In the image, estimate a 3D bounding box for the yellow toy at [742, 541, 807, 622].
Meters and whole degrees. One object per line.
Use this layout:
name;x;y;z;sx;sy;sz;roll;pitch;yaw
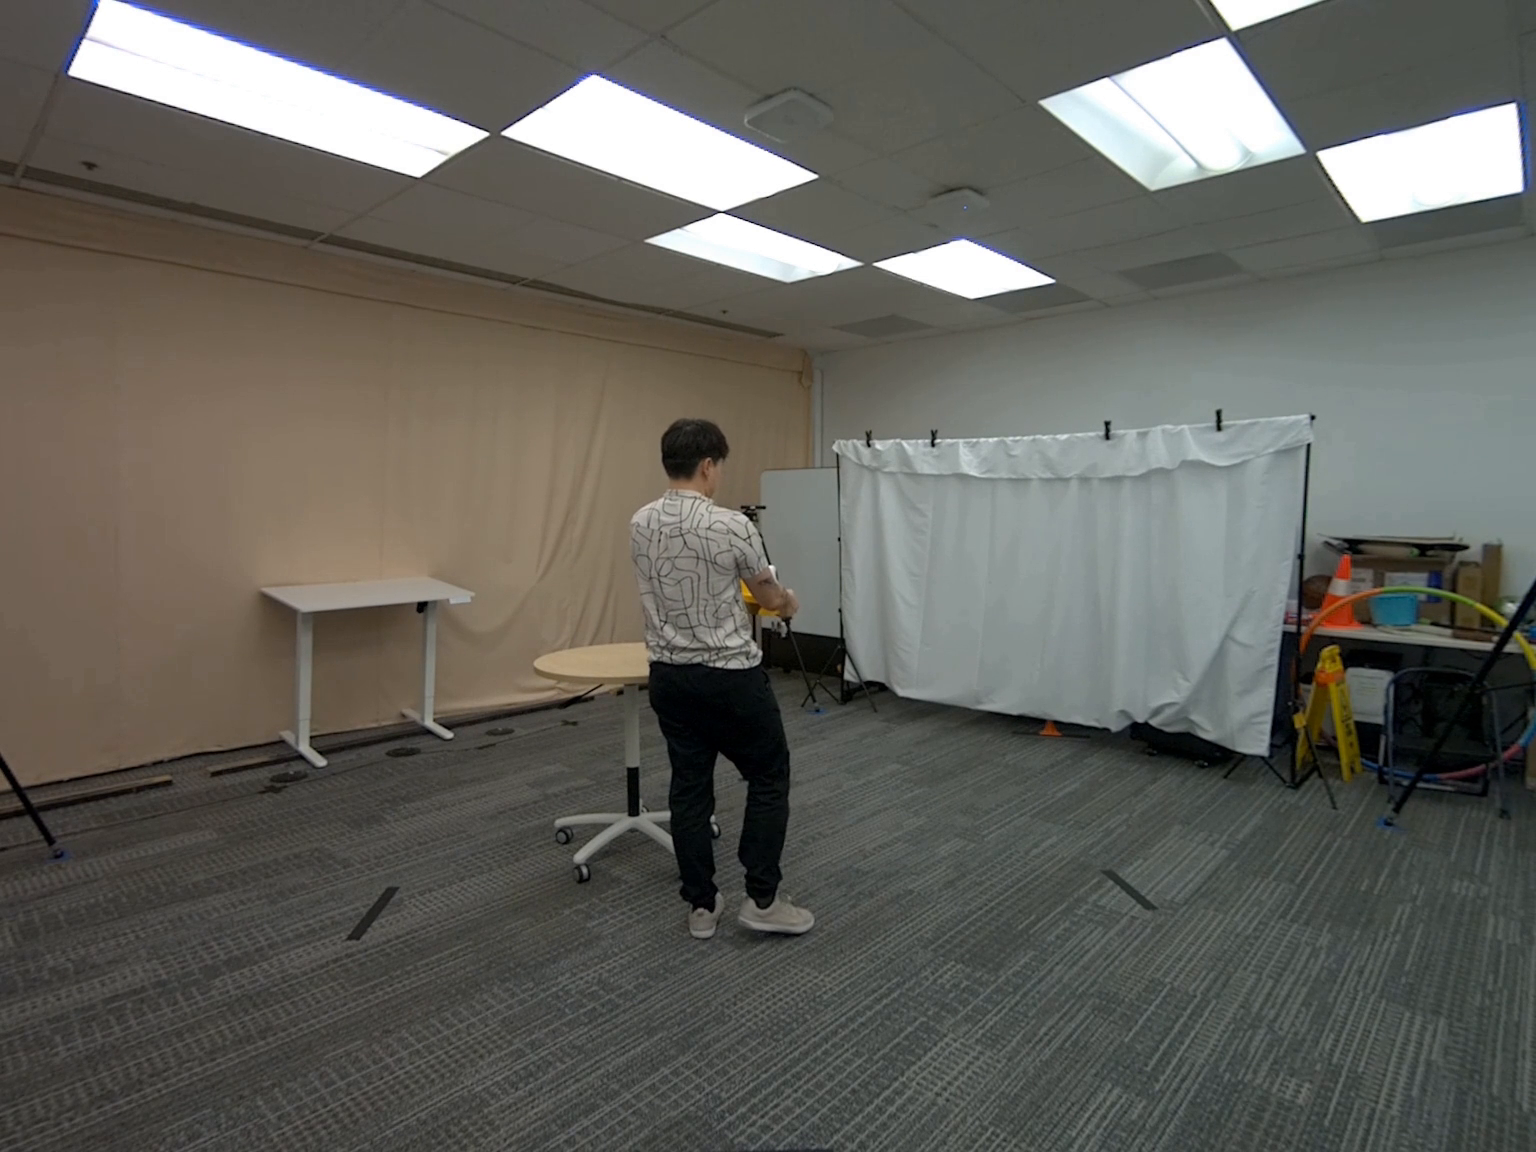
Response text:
yellow toy;-0.012;0.011;3.069;0.211;0.228;0.189;5;18;35
